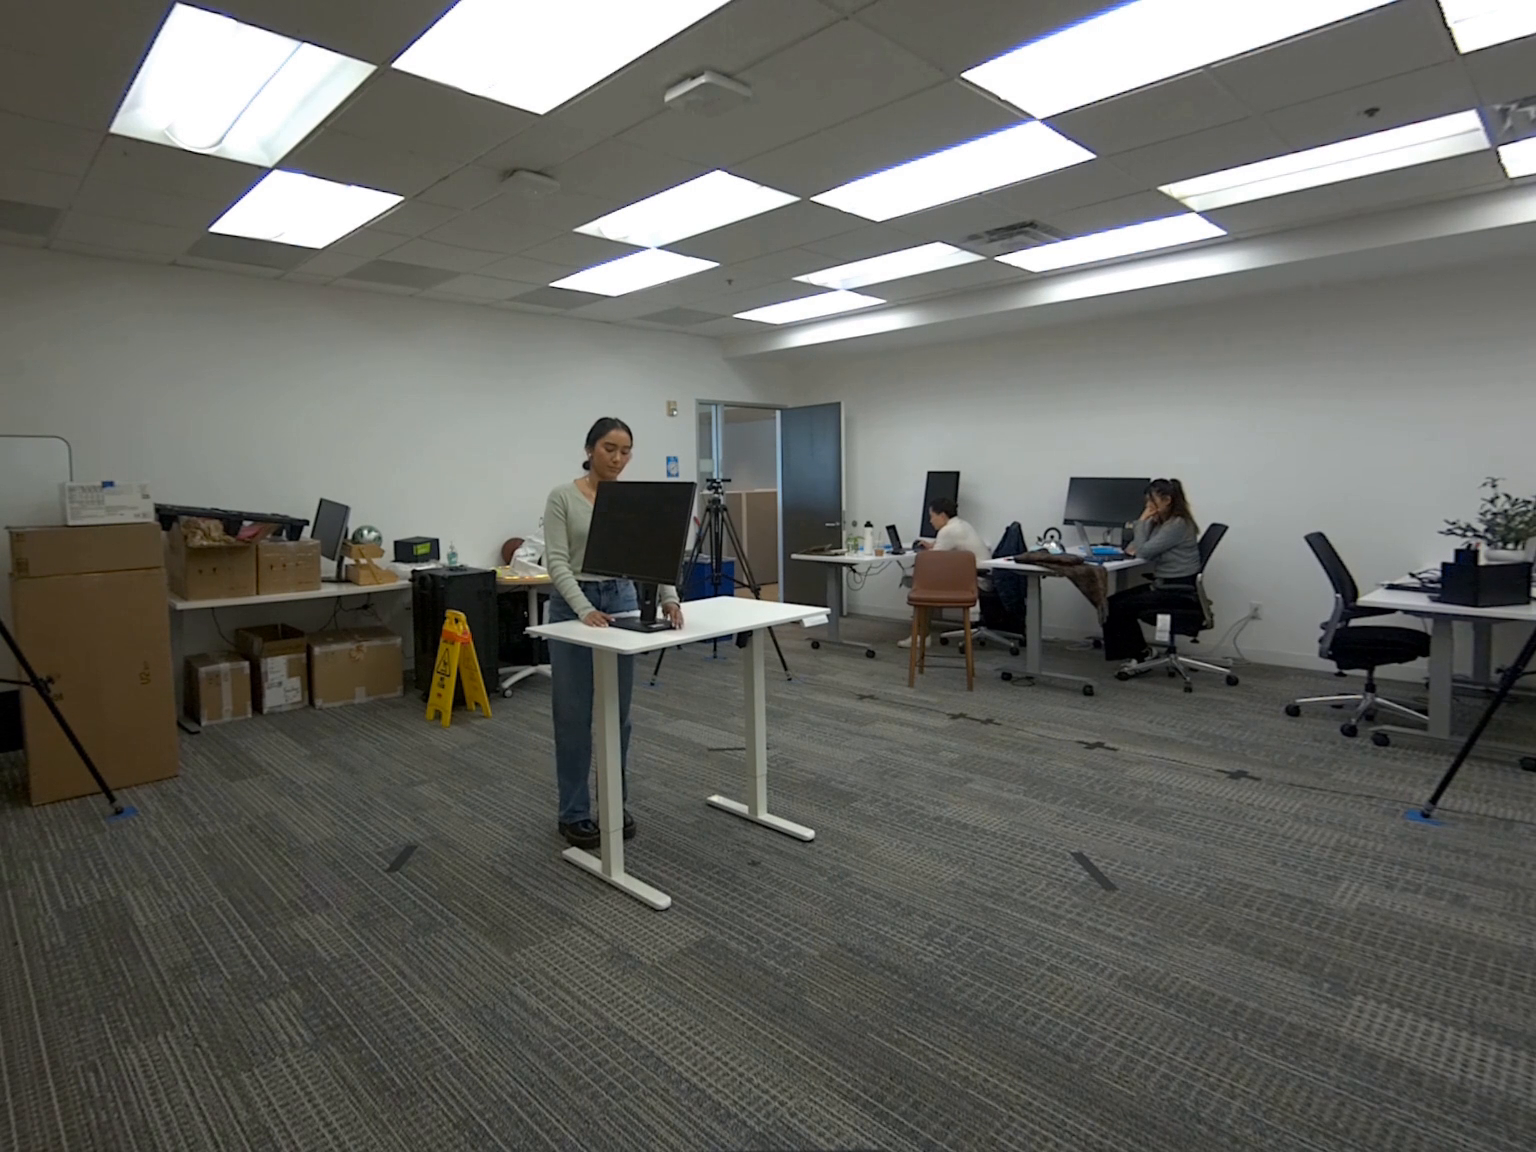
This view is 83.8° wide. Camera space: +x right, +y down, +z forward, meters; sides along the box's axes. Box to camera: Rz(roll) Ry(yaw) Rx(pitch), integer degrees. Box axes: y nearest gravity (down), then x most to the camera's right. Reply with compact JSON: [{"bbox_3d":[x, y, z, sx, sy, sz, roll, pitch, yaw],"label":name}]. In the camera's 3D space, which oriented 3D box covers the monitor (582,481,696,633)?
[{"bbox_3d":[-0.447,-0.079,3.027,0.547,0.512,0.170,6,11,44],"label":"monitor"}]
